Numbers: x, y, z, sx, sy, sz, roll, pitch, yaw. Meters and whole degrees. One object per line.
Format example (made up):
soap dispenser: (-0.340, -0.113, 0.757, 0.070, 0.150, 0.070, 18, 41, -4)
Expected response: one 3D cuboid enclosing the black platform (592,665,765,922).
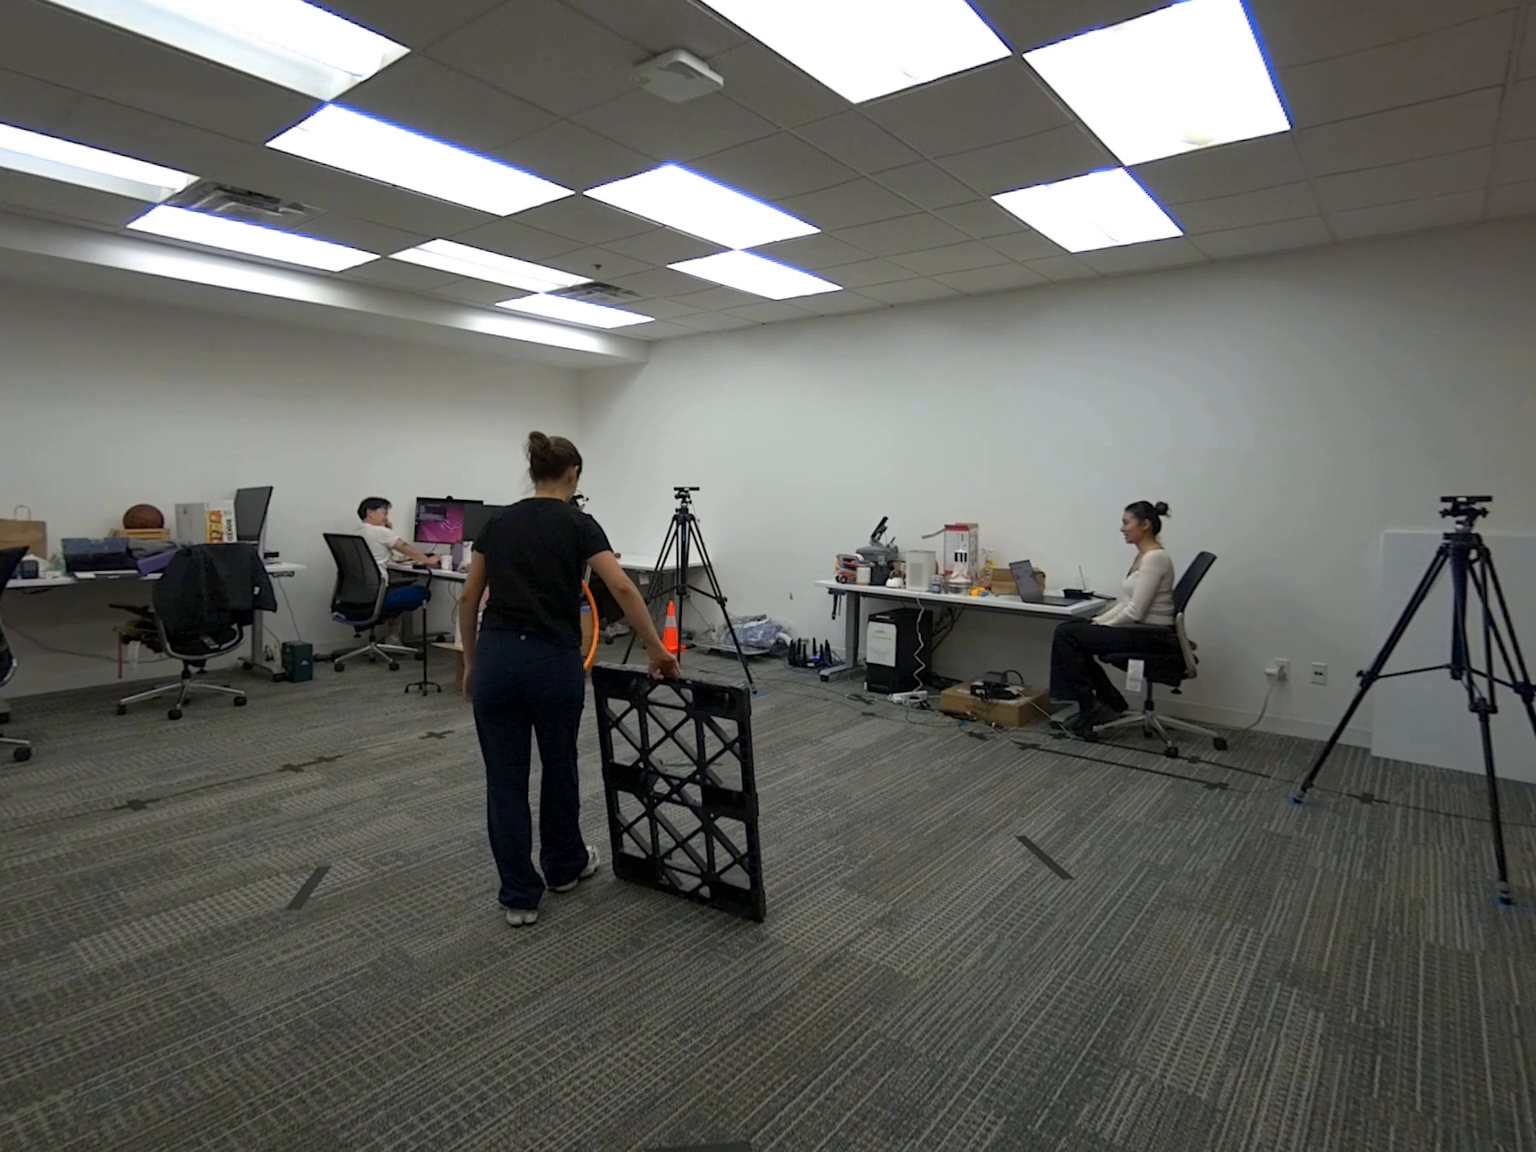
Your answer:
black platform: (-0.272, 0.695, 2.854, 0.623, 0.796, 0.141, 3, 13, 31)
